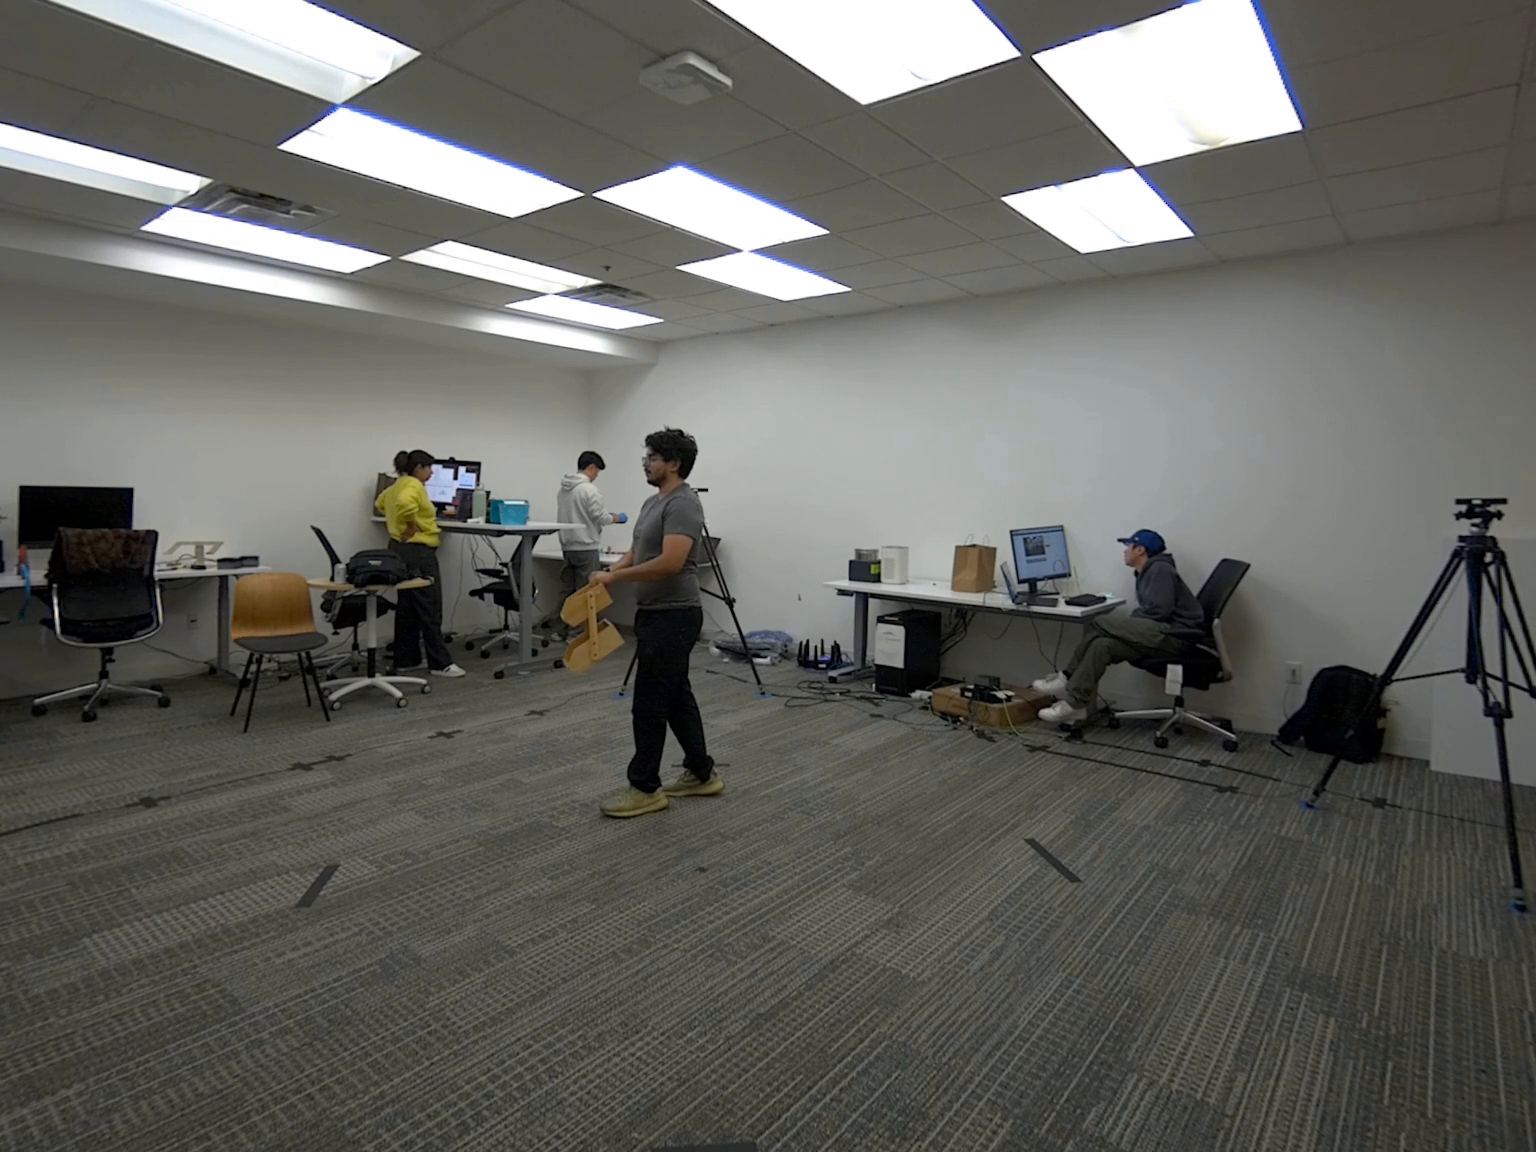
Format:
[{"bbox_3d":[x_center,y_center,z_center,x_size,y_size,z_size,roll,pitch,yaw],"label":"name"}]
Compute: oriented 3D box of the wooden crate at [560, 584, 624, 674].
[{"bbox_3d":[-0.800,0.210,3.602,0.300,0.270,0.330,-33,9,-13],"label":"wooden crate"}]
